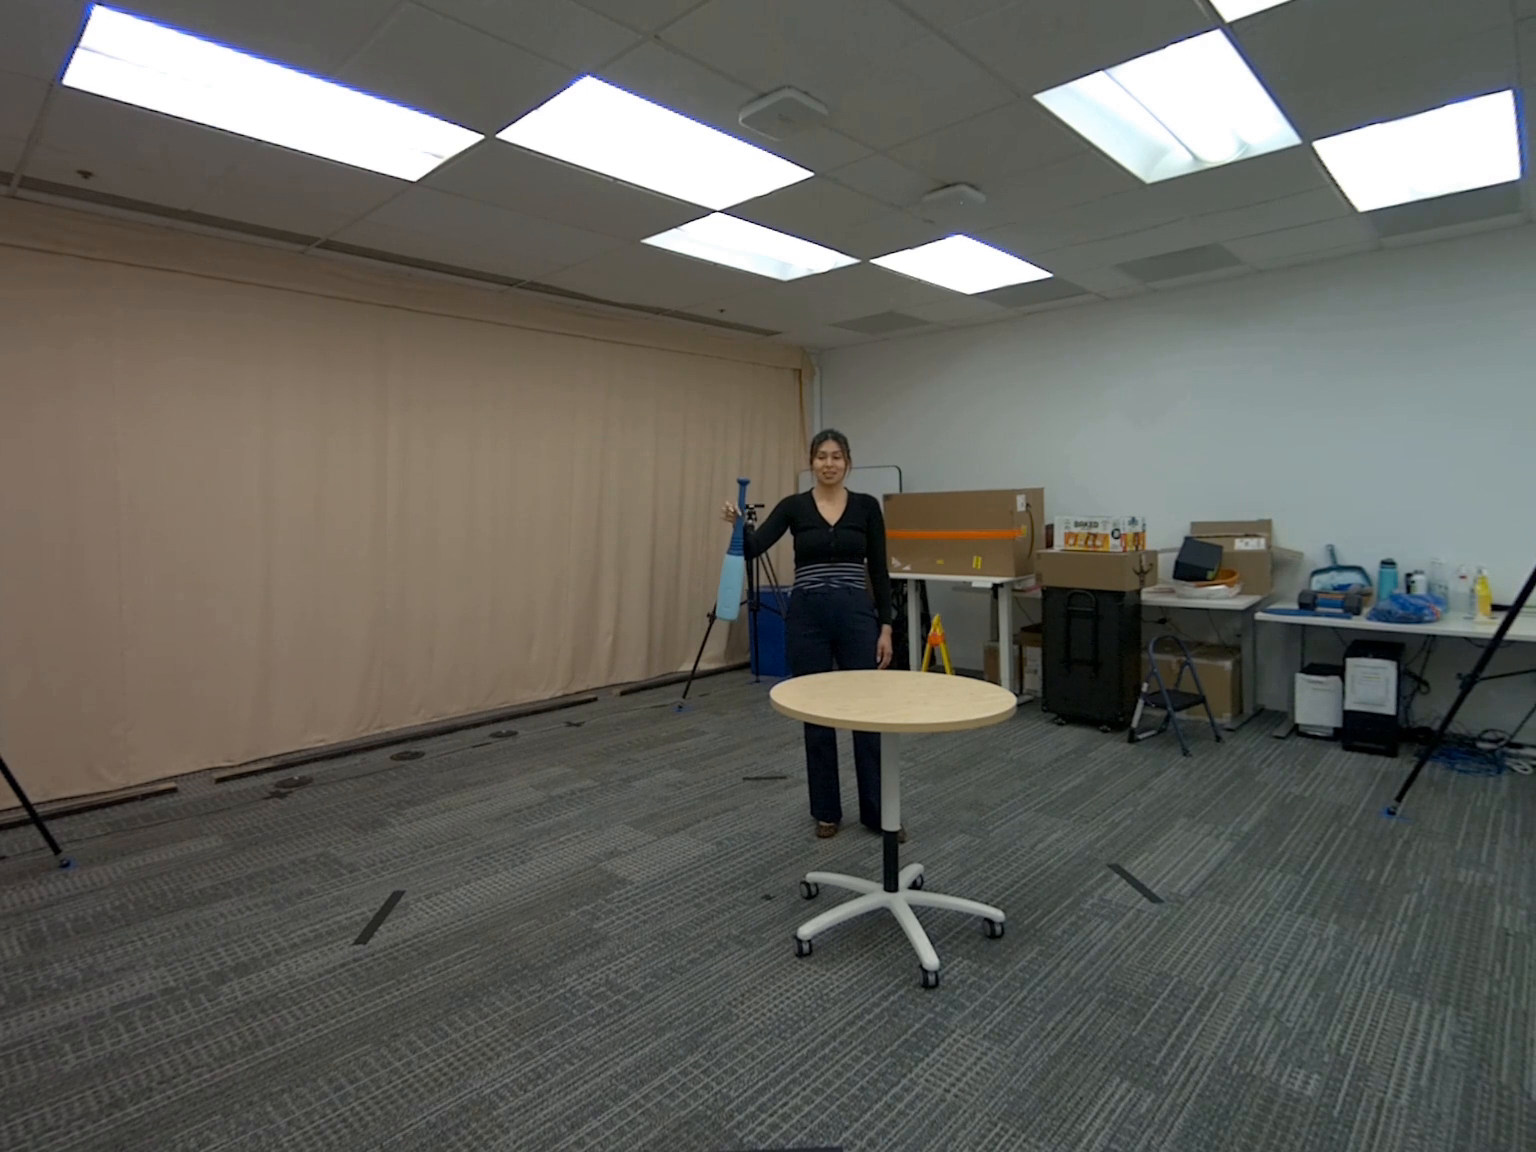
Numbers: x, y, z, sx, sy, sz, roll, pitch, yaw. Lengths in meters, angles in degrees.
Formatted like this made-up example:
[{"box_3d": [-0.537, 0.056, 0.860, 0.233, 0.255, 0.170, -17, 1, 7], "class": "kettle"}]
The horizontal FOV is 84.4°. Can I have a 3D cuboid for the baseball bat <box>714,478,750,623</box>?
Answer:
[{"box_3d": [-0.123, -0.107, 3.181, 0.089, 0.541, 0.089, 6, 5, -2], "class": "baseball bat"}]
